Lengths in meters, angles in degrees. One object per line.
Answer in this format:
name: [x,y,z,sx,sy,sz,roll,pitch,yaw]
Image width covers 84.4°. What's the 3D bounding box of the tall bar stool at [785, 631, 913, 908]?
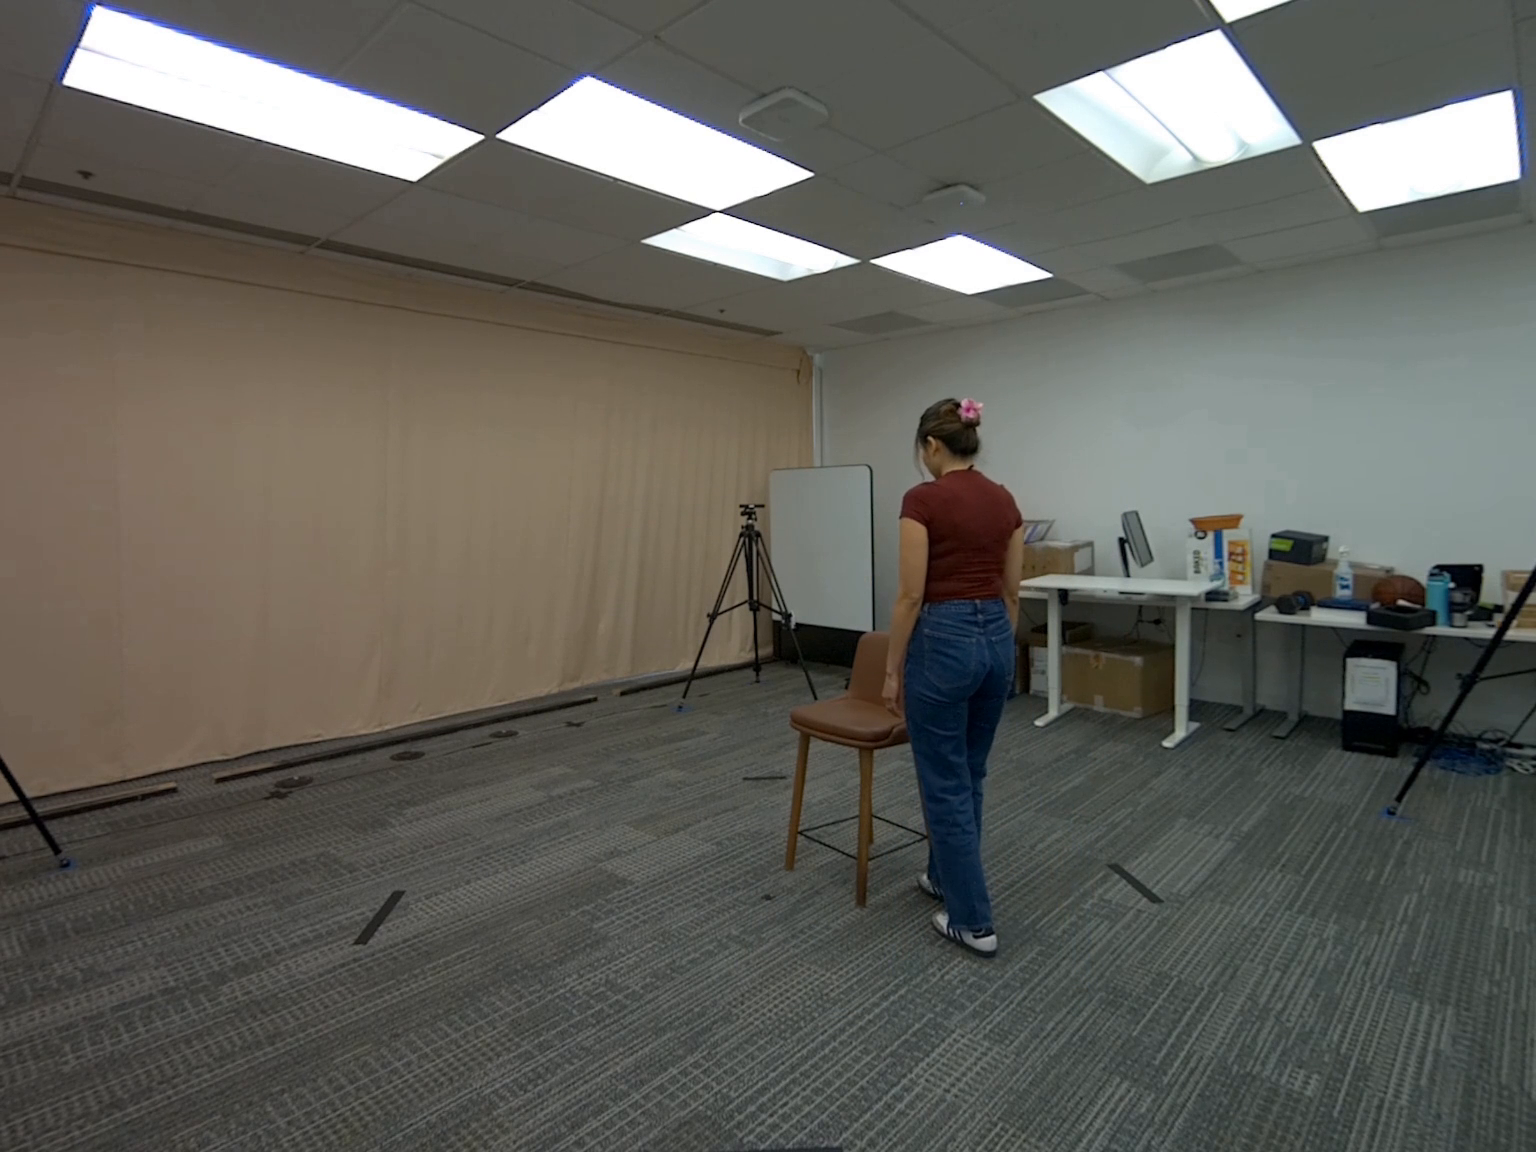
tall bar stool: [0.361,0.682,3.165,0.453,0.888,0.471,-1,3,-38]
